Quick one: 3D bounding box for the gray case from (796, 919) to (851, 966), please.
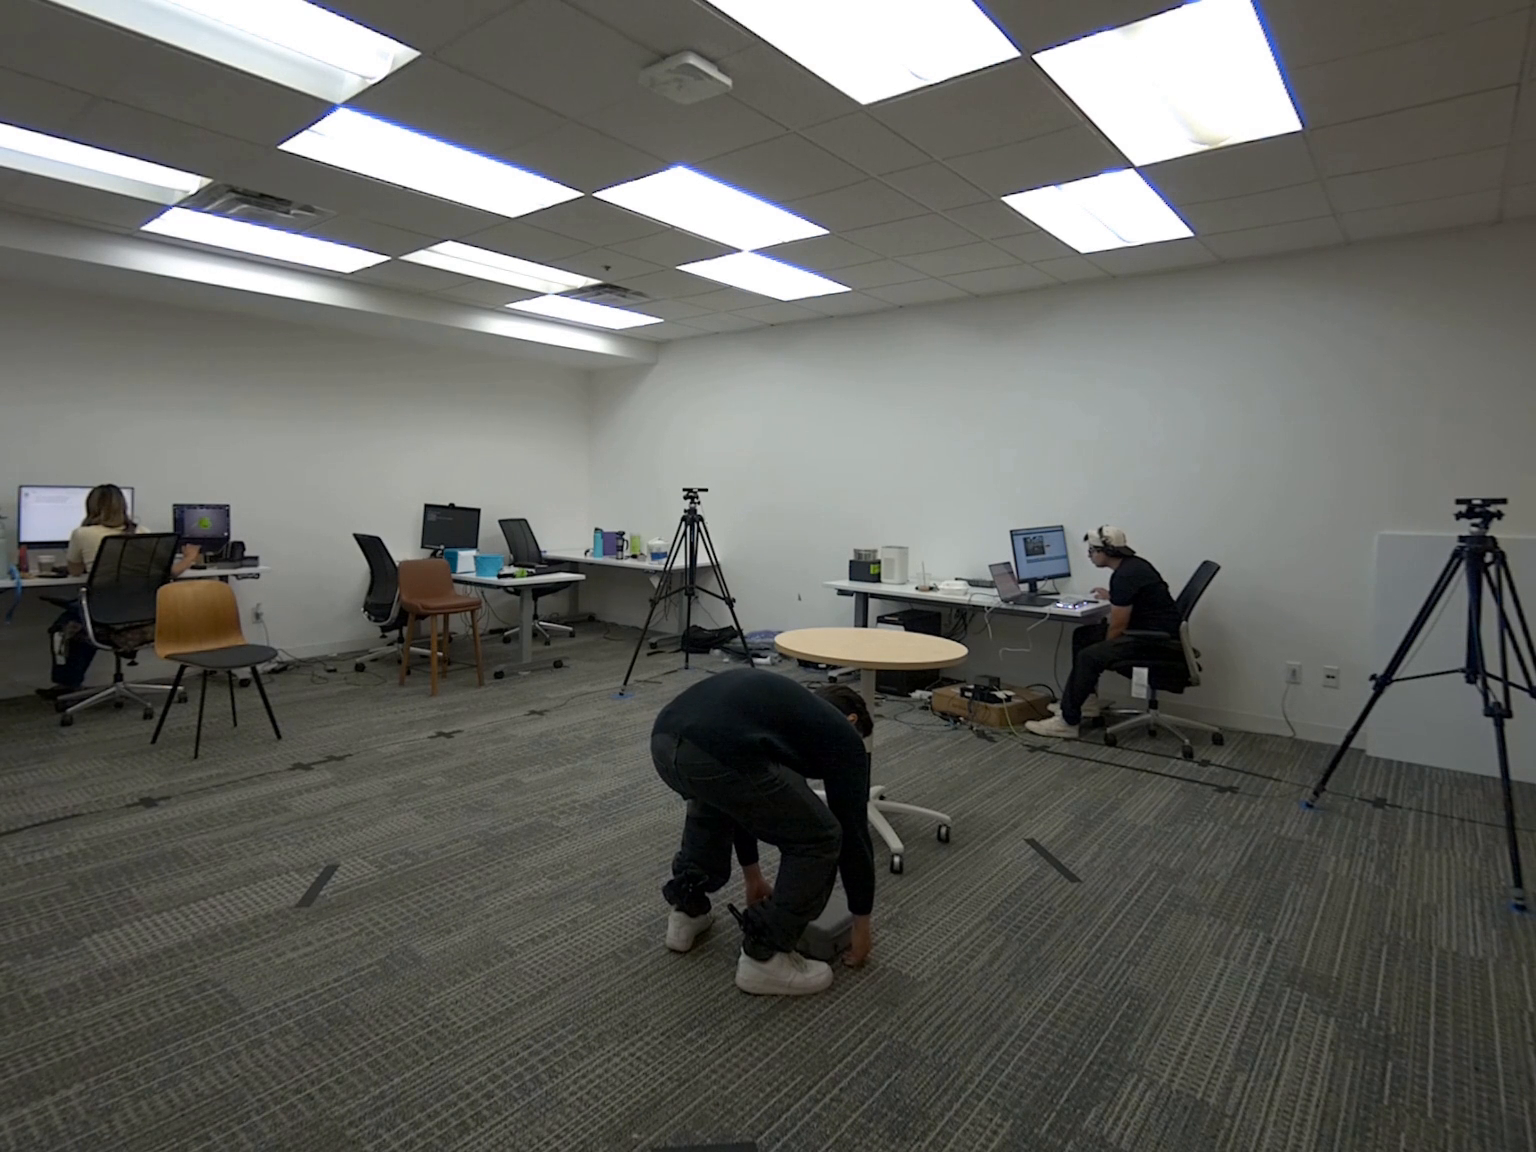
[{"bbox_3d":[0.143,1.064,2.655,0.266,0.104,0.253,8,8,37],"label":"gray case"}]
